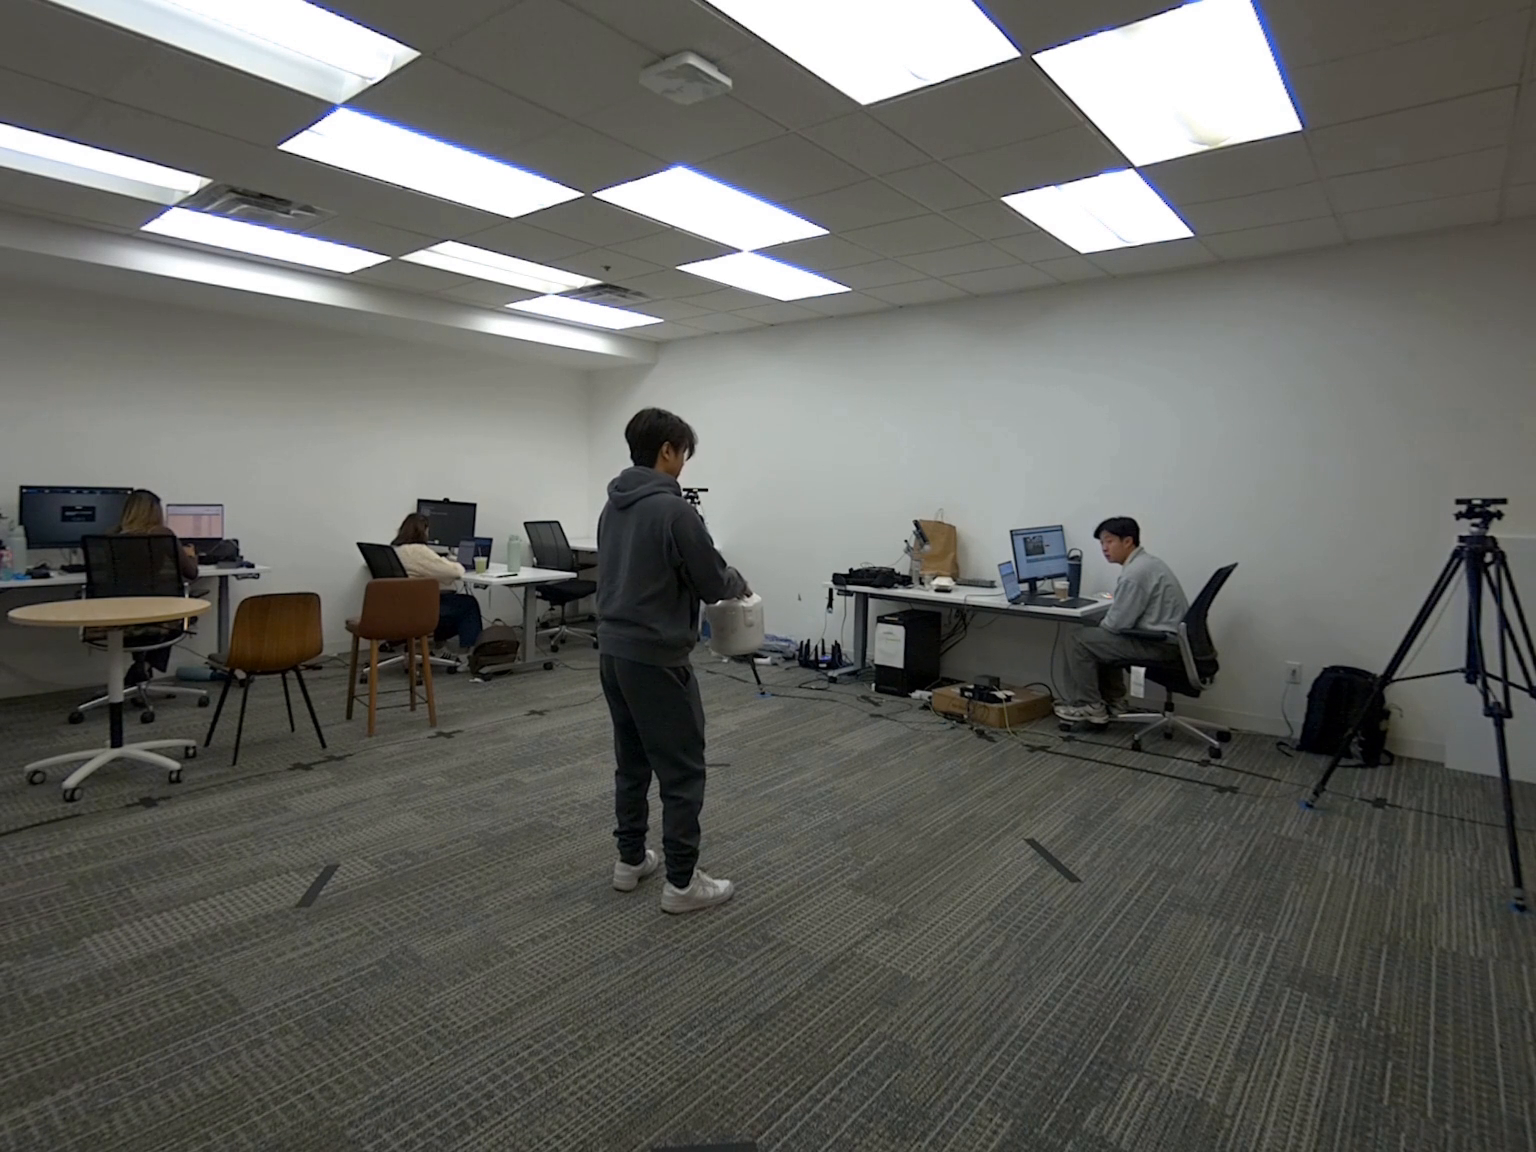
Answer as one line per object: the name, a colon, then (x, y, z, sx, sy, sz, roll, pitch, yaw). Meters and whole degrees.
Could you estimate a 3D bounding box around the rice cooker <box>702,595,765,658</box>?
rice cooker: (-0.136, 0.159, 3.167, 0.213, 0.231, 0.227, -10, 11, -29)
